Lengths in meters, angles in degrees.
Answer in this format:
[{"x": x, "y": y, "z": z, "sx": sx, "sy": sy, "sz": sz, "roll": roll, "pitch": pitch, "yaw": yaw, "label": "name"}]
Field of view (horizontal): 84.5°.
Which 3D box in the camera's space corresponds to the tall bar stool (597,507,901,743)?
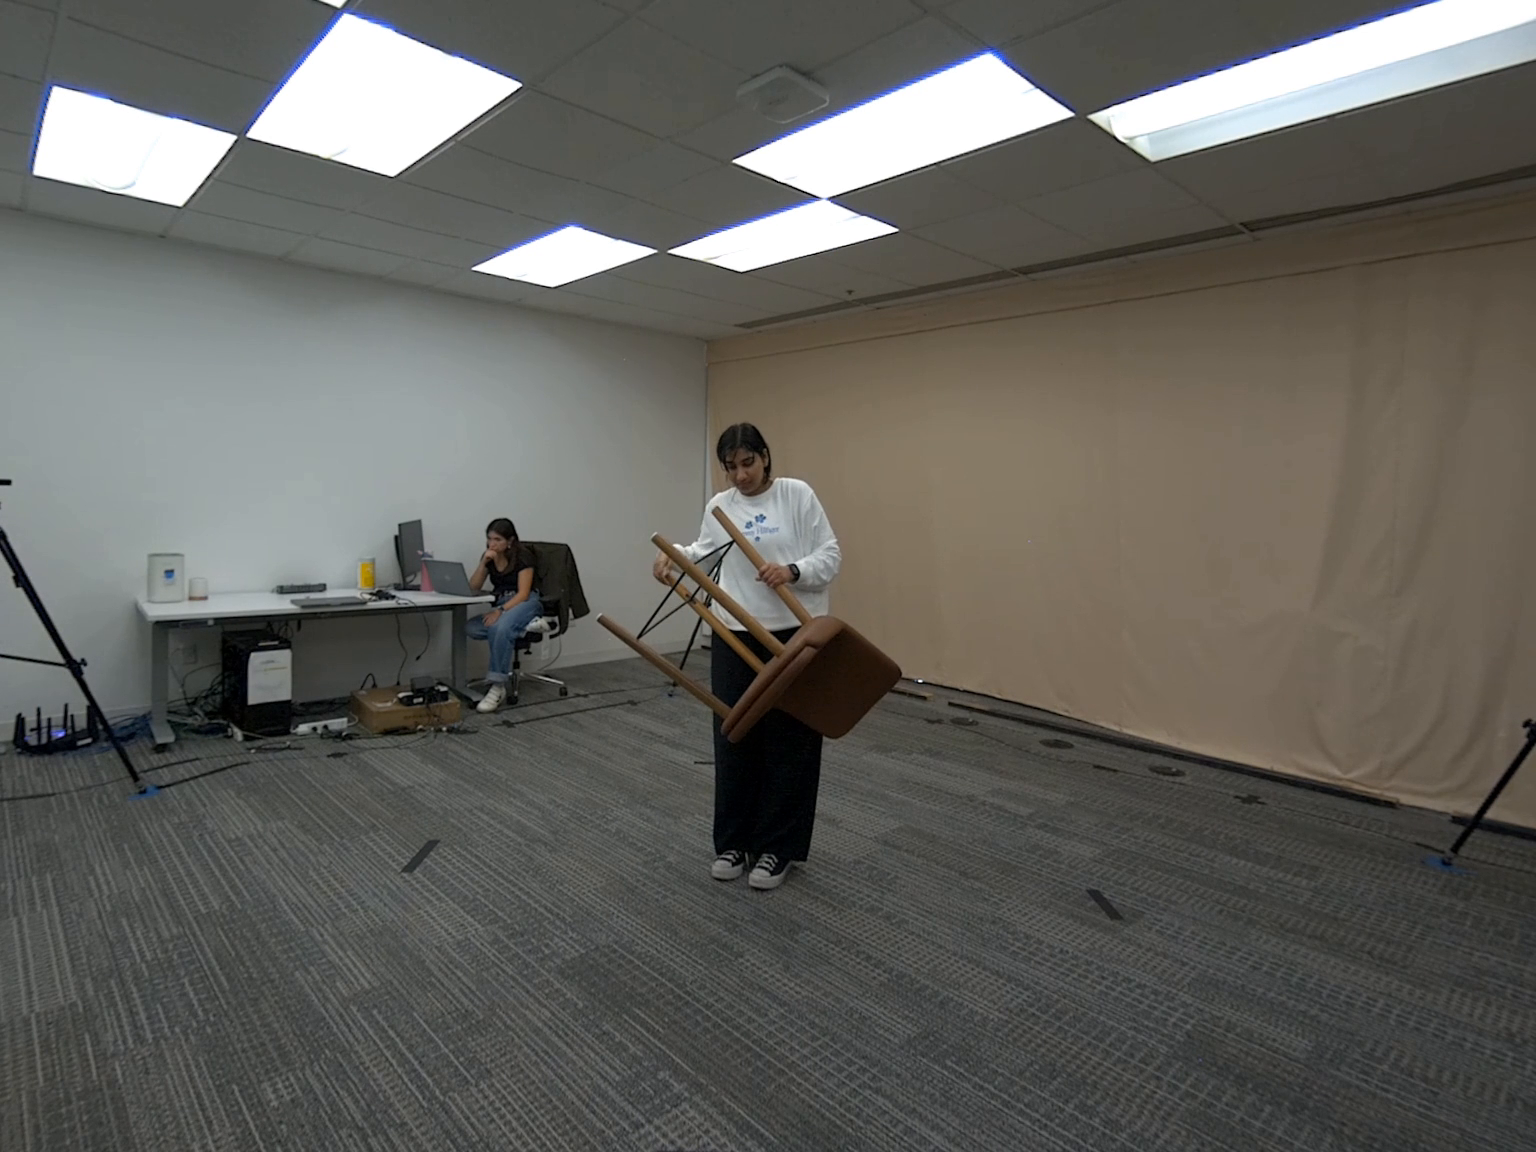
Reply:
[{"x": -0.055, "y": 0.236, "z": 2.804, "sx": 0.898, "sy": 0.455, "sz": 0.465, "roll": 41, "pitch": 29, "yaw": 8, "label": "tall bar stool"}]
